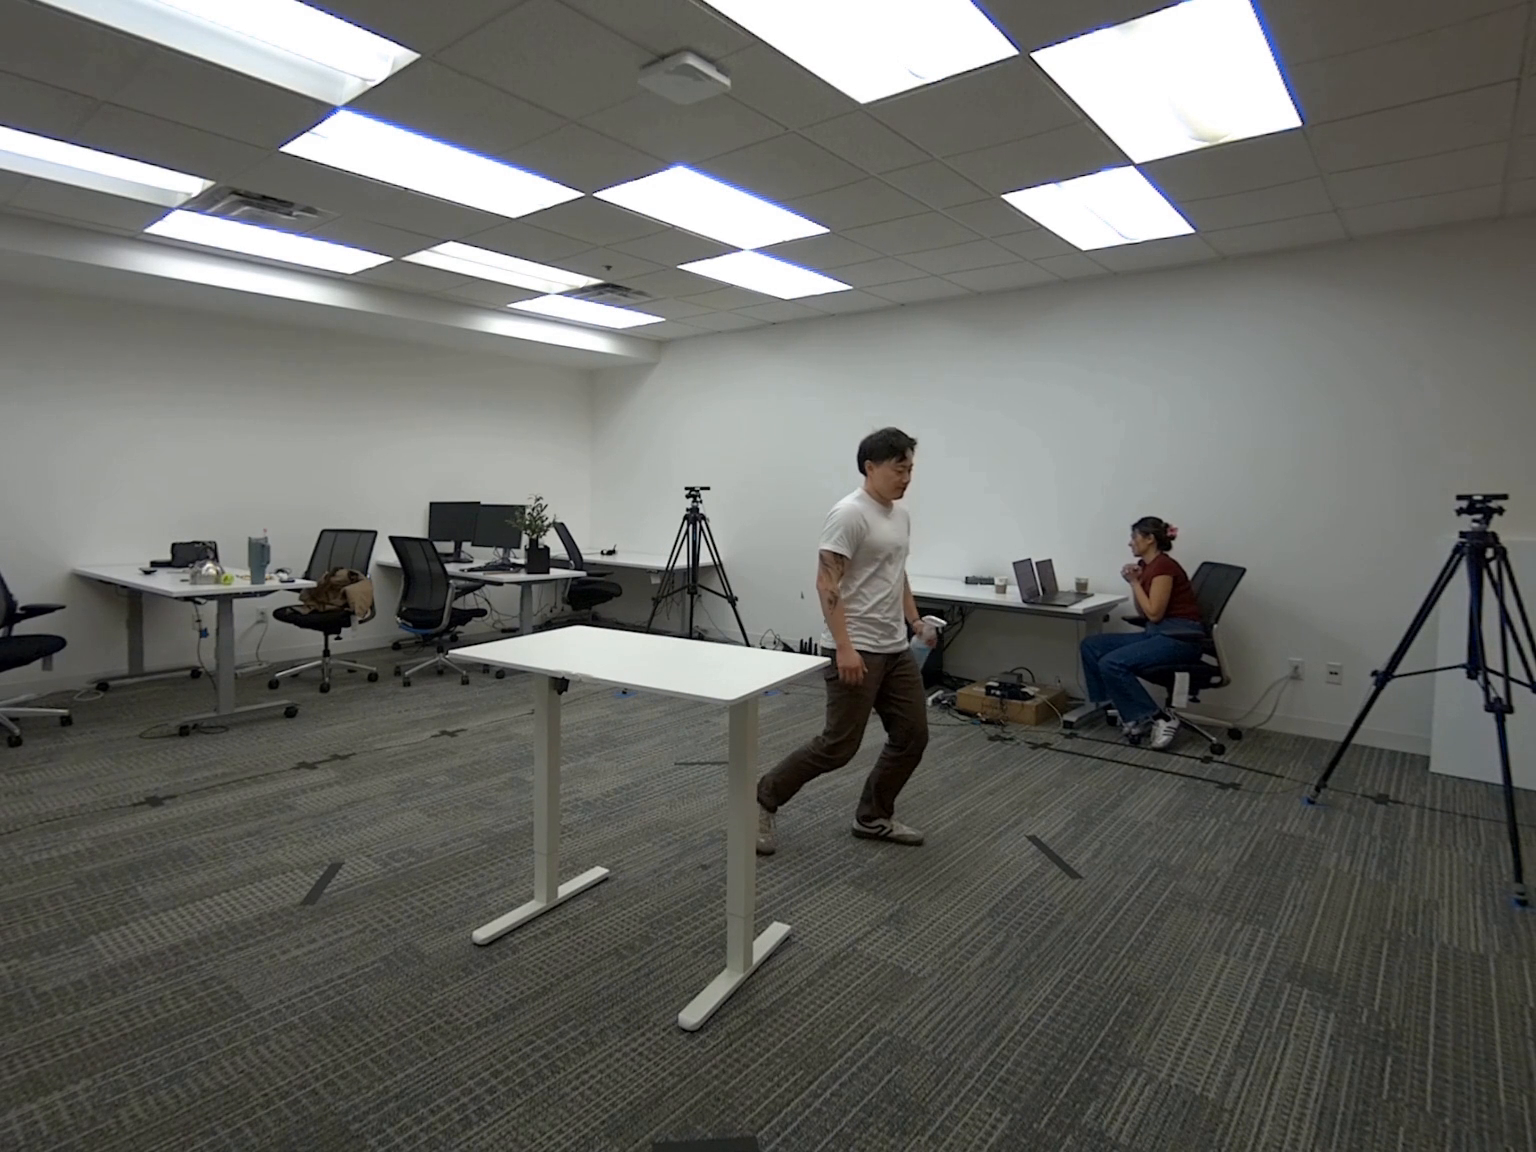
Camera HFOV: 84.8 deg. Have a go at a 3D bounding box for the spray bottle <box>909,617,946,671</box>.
[{"bbox_3d":[0.606,0.265,3.461,0.085,0.293,0.093,-14,46,-41],"label":"spray bottle"}]
